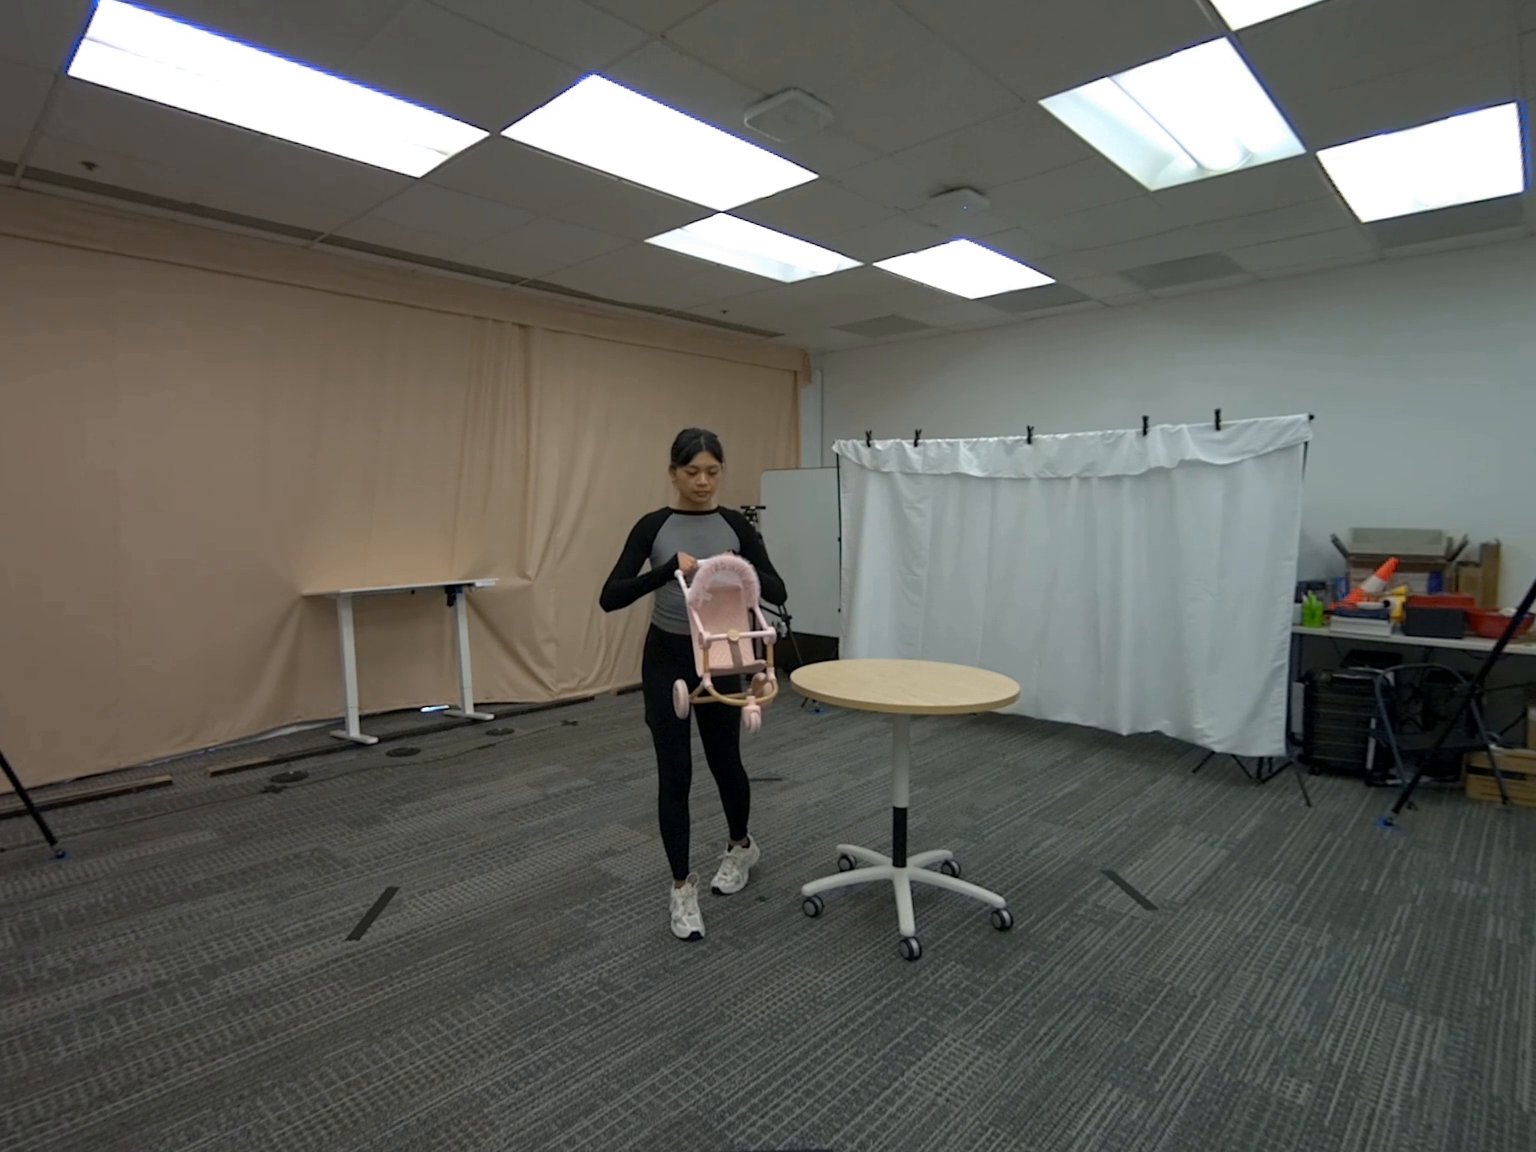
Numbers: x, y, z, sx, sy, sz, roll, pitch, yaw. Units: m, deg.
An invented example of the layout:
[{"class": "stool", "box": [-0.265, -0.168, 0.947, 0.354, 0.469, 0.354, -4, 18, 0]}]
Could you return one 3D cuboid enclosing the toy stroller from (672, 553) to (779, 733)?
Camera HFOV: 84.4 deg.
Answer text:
[{"class": "toy stroller", "box": [-0.118, 0.181, 2.374, 0.277, 0.539, 0.344, -2, -11, -16]}]
